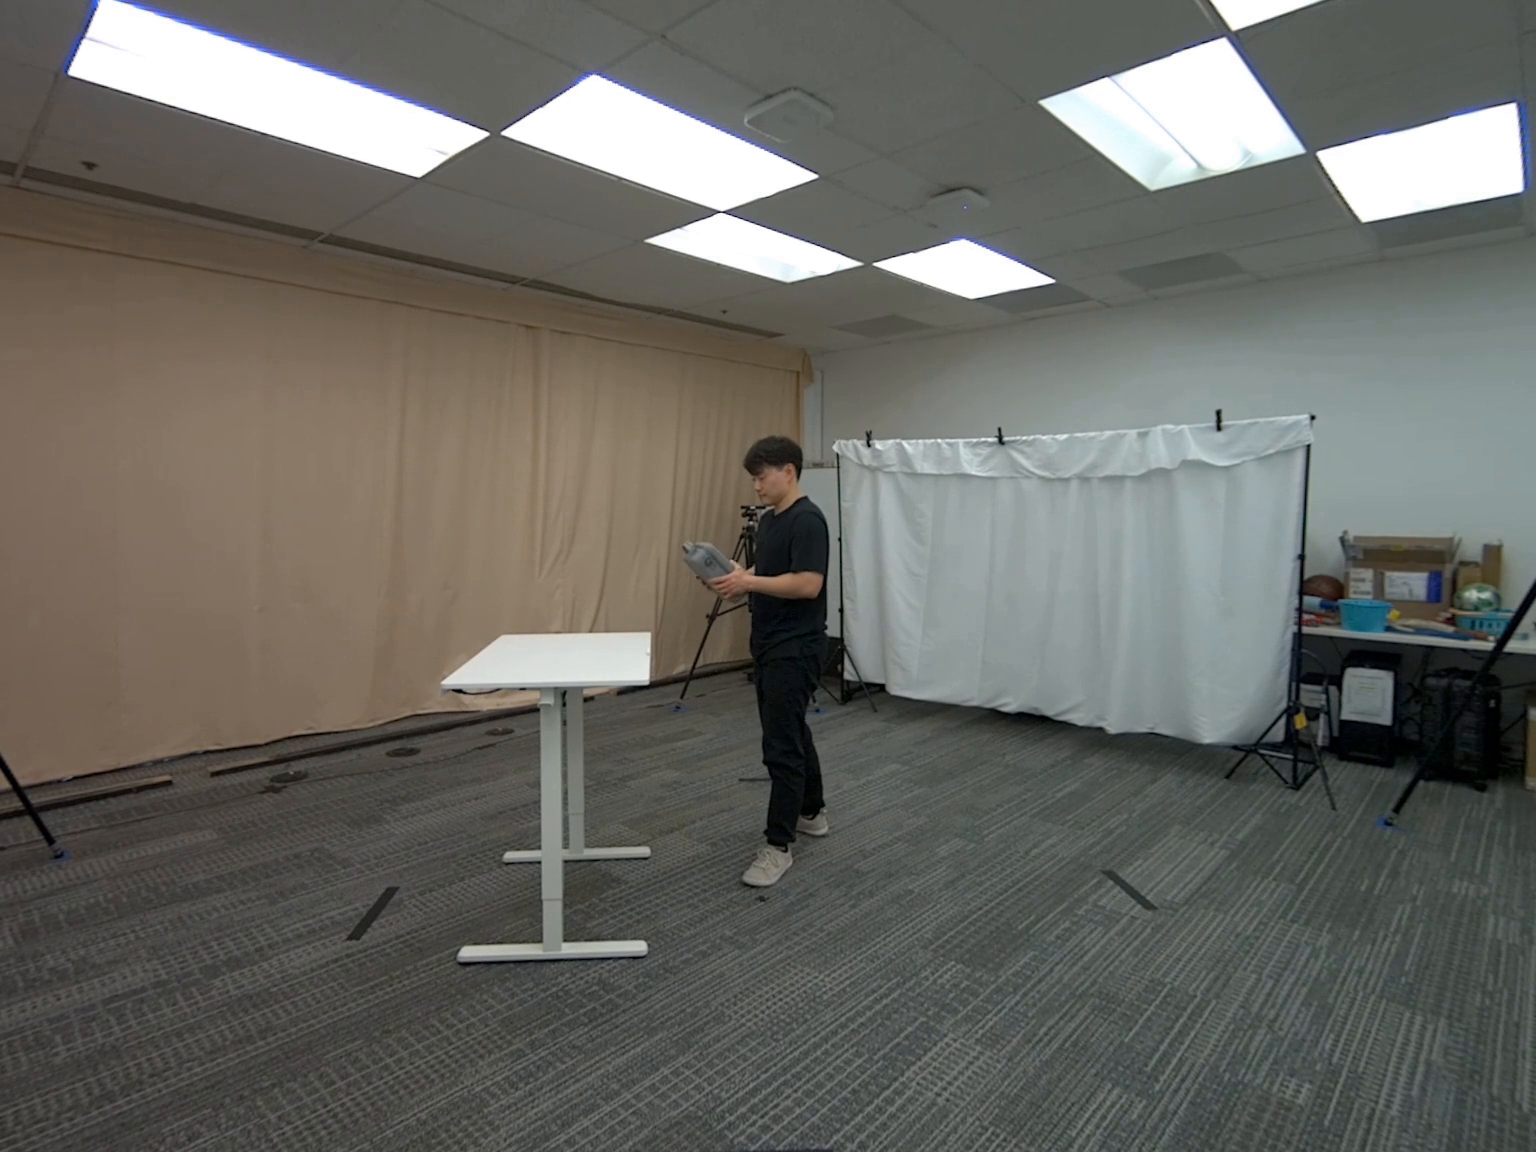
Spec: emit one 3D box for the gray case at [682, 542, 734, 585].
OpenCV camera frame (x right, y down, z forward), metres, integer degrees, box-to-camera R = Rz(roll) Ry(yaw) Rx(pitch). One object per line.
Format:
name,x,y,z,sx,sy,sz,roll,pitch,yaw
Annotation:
gray case,-0.198,-0.026,3.316,0.258,0.104,0.260,45,-7,-9
